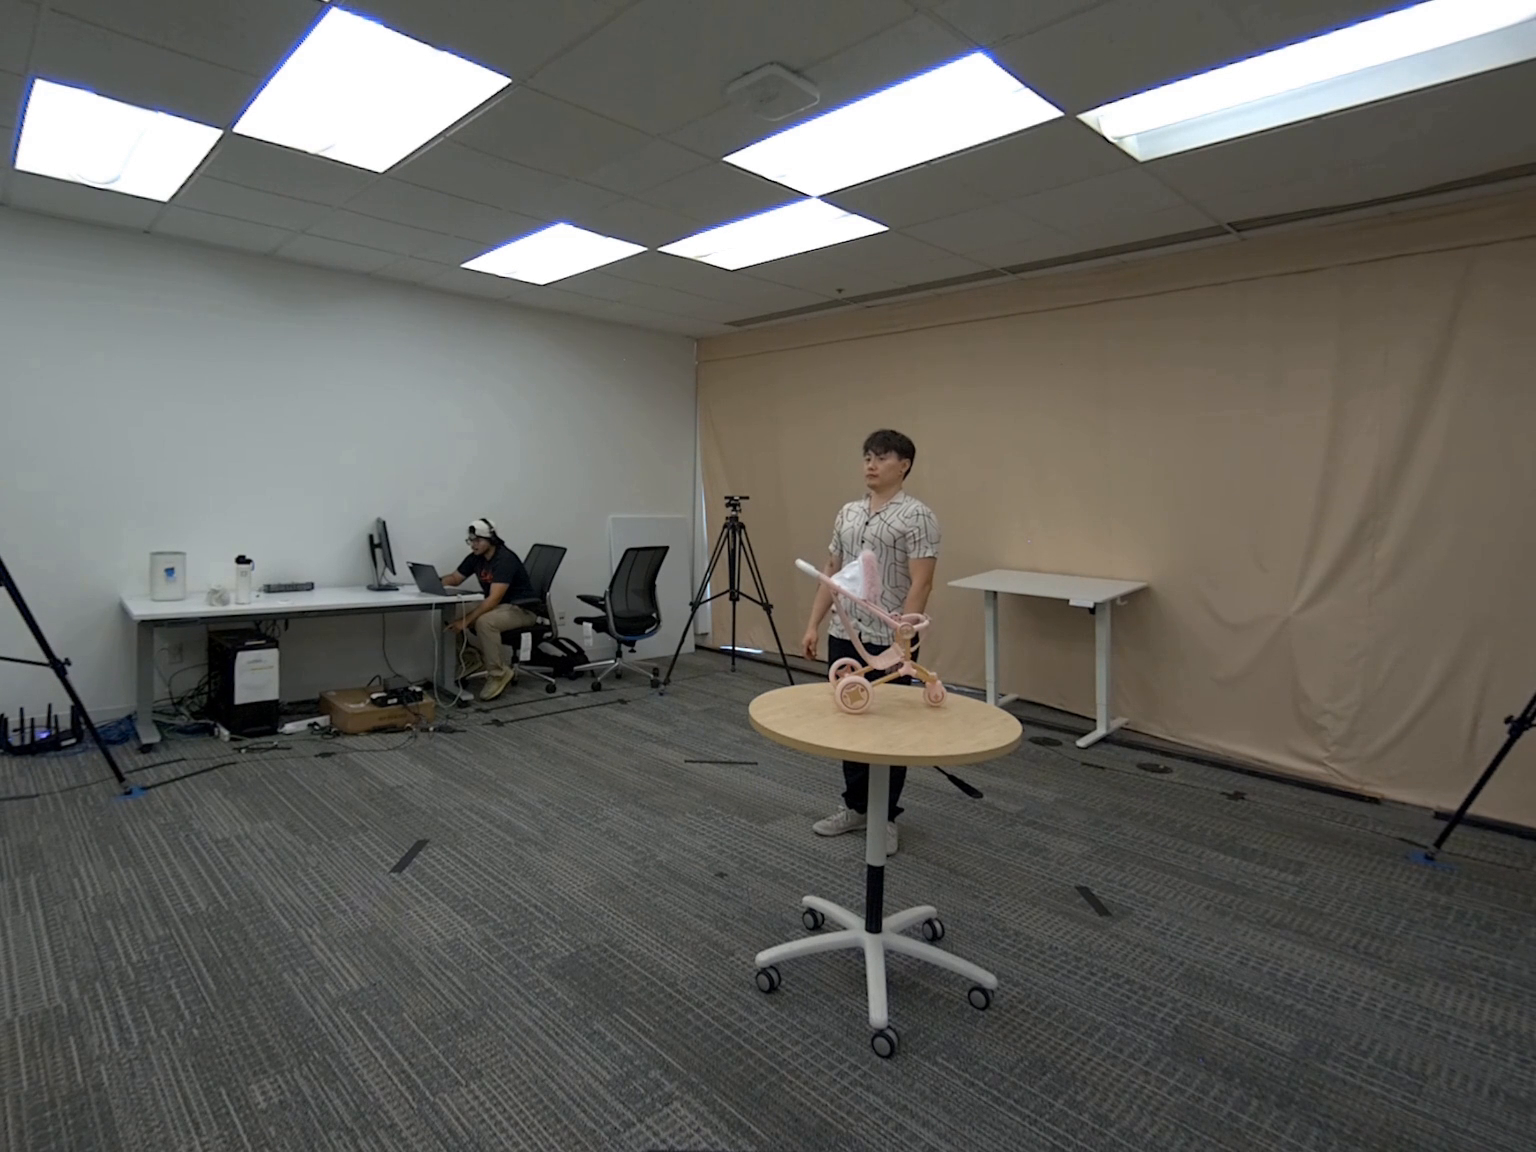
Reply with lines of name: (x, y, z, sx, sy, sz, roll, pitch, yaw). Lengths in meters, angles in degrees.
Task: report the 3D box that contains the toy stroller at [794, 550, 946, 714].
toy stroller: (0.311, 0.163, 2.504, 0.343, 0.534, 0.281, -14, 2, 7)
